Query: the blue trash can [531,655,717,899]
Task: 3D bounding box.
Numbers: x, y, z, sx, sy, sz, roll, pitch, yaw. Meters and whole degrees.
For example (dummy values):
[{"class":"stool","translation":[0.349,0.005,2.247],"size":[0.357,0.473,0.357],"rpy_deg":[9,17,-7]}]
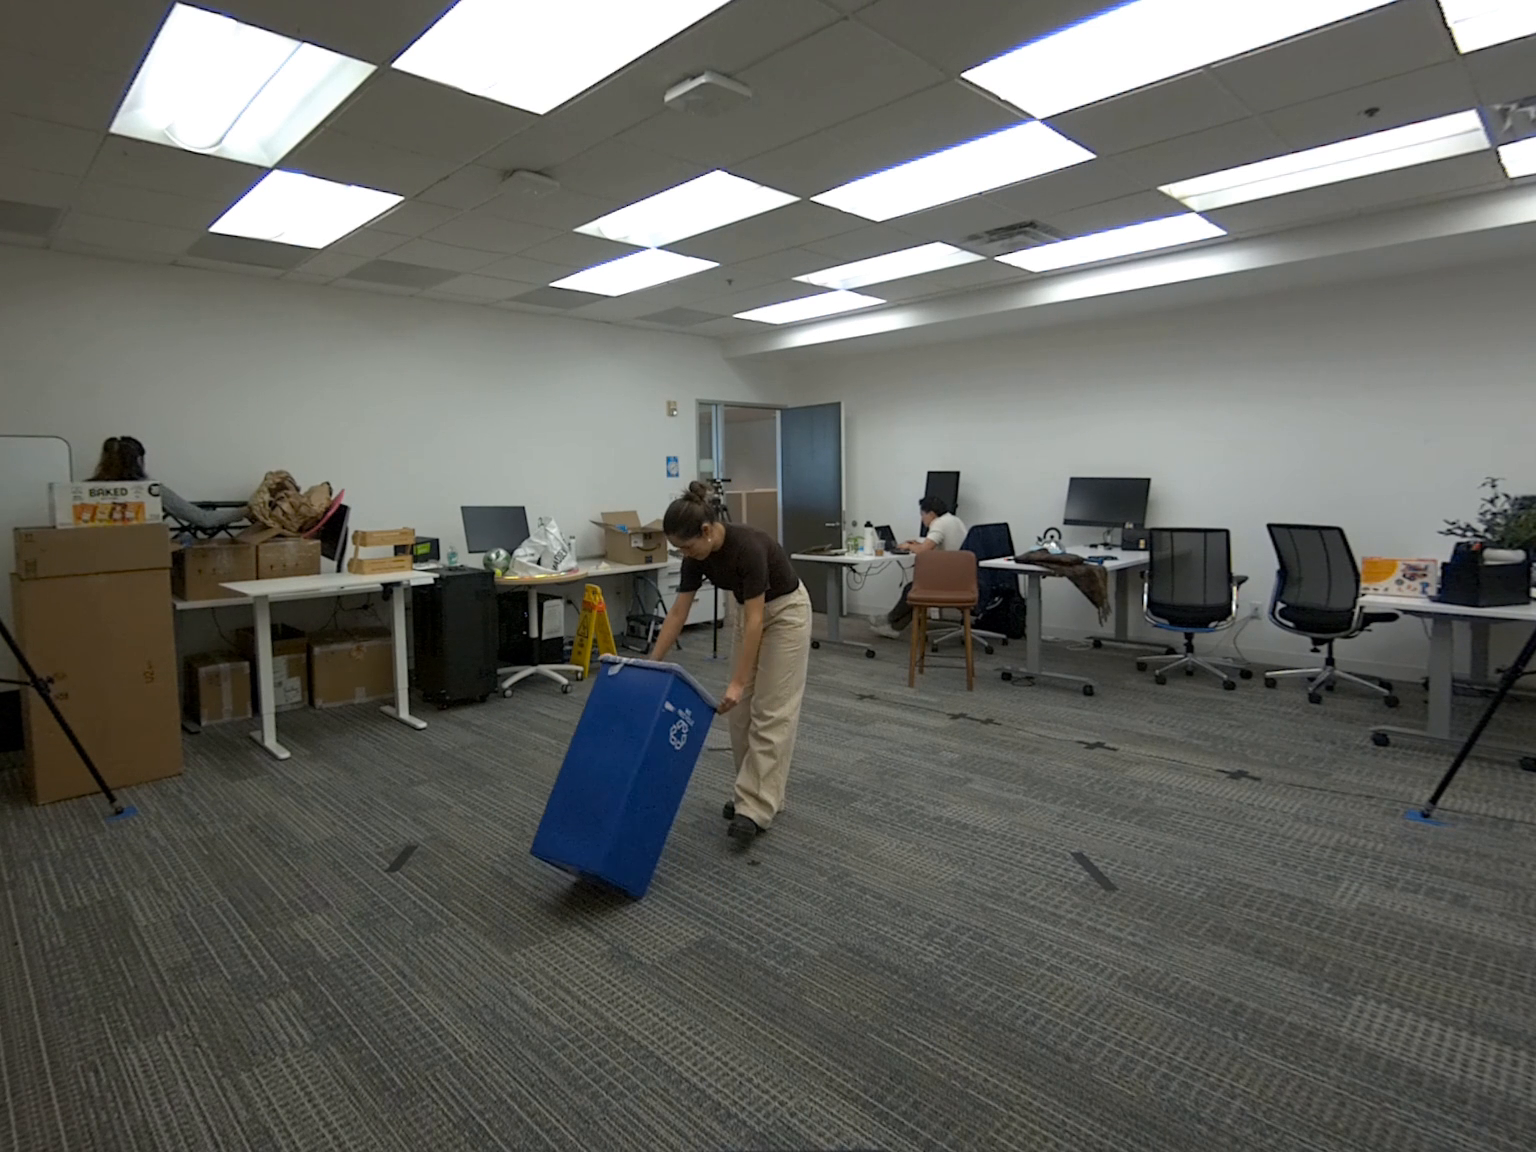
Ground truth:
[{"class":"blue trash can","translation":[-0.494,0.690,3.001],"size":[0.388,0.722,0.359],"rpy_deg":[3,-31,31]}]
